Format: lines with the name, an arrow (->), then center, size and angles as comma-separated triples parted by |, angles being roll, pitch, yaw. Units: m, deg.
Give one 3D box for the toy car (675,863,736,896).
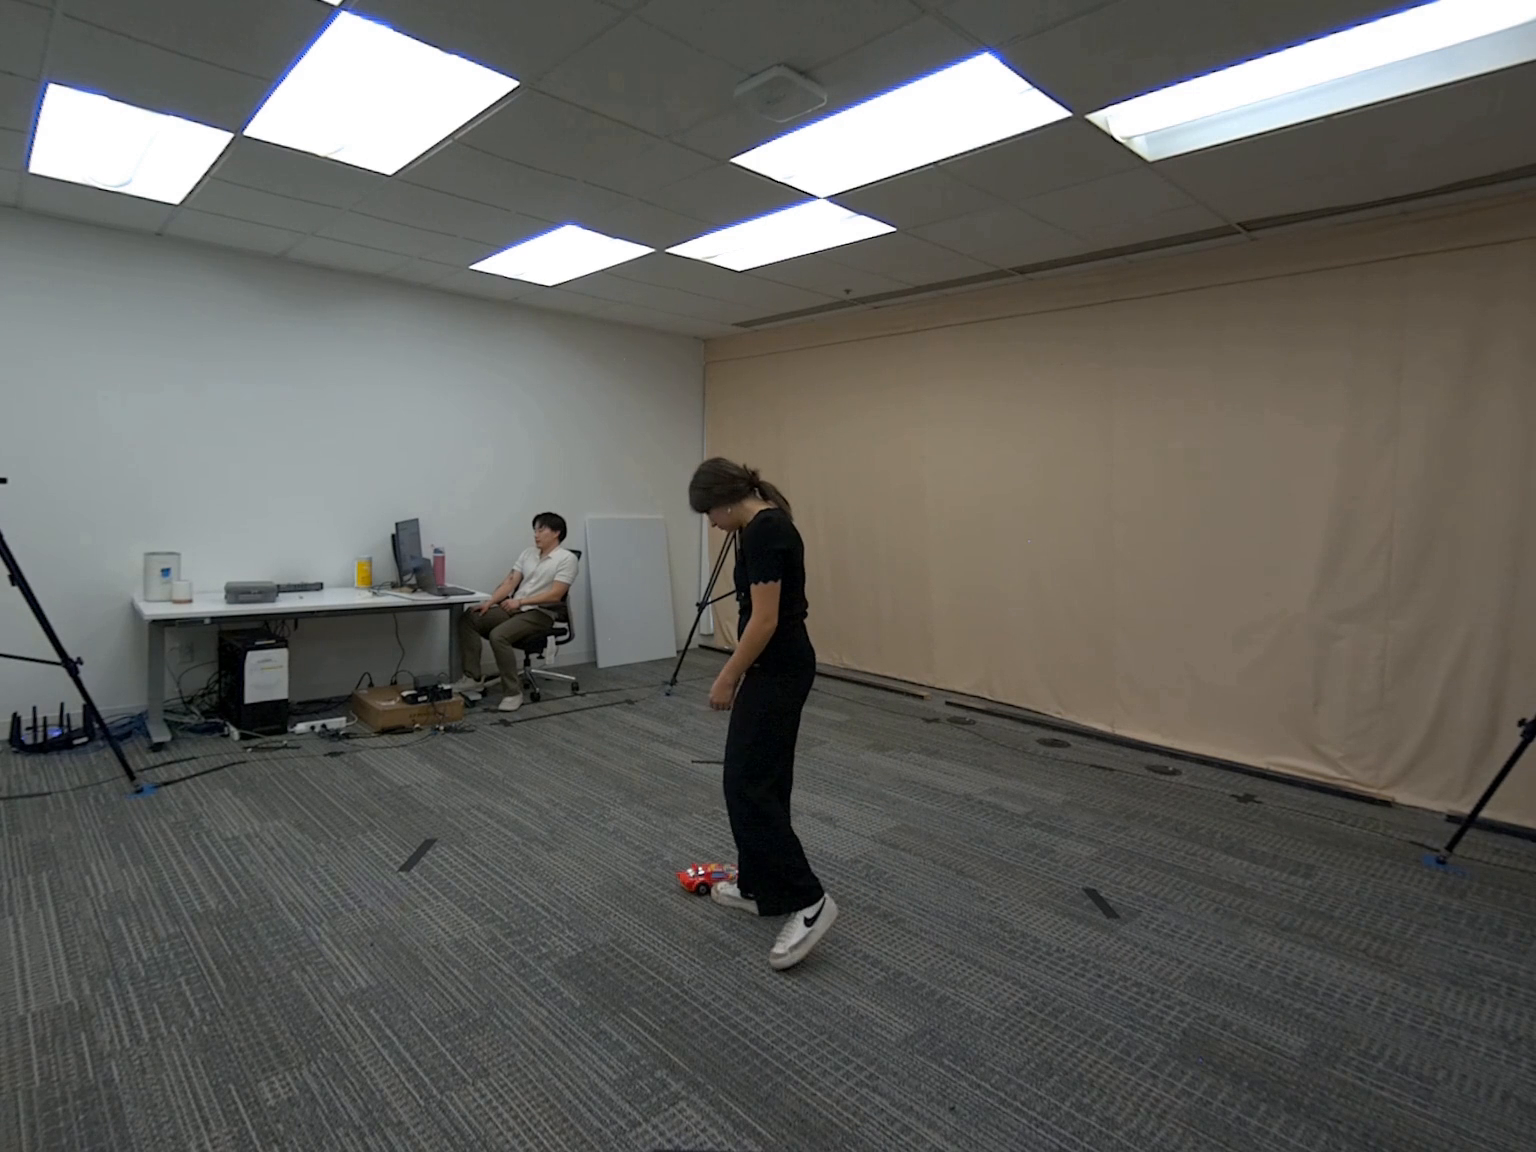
toy car -> -0.213, 1.079, 3.008 | 0.250, 0.083, 0.133 | 11, 2, -20
